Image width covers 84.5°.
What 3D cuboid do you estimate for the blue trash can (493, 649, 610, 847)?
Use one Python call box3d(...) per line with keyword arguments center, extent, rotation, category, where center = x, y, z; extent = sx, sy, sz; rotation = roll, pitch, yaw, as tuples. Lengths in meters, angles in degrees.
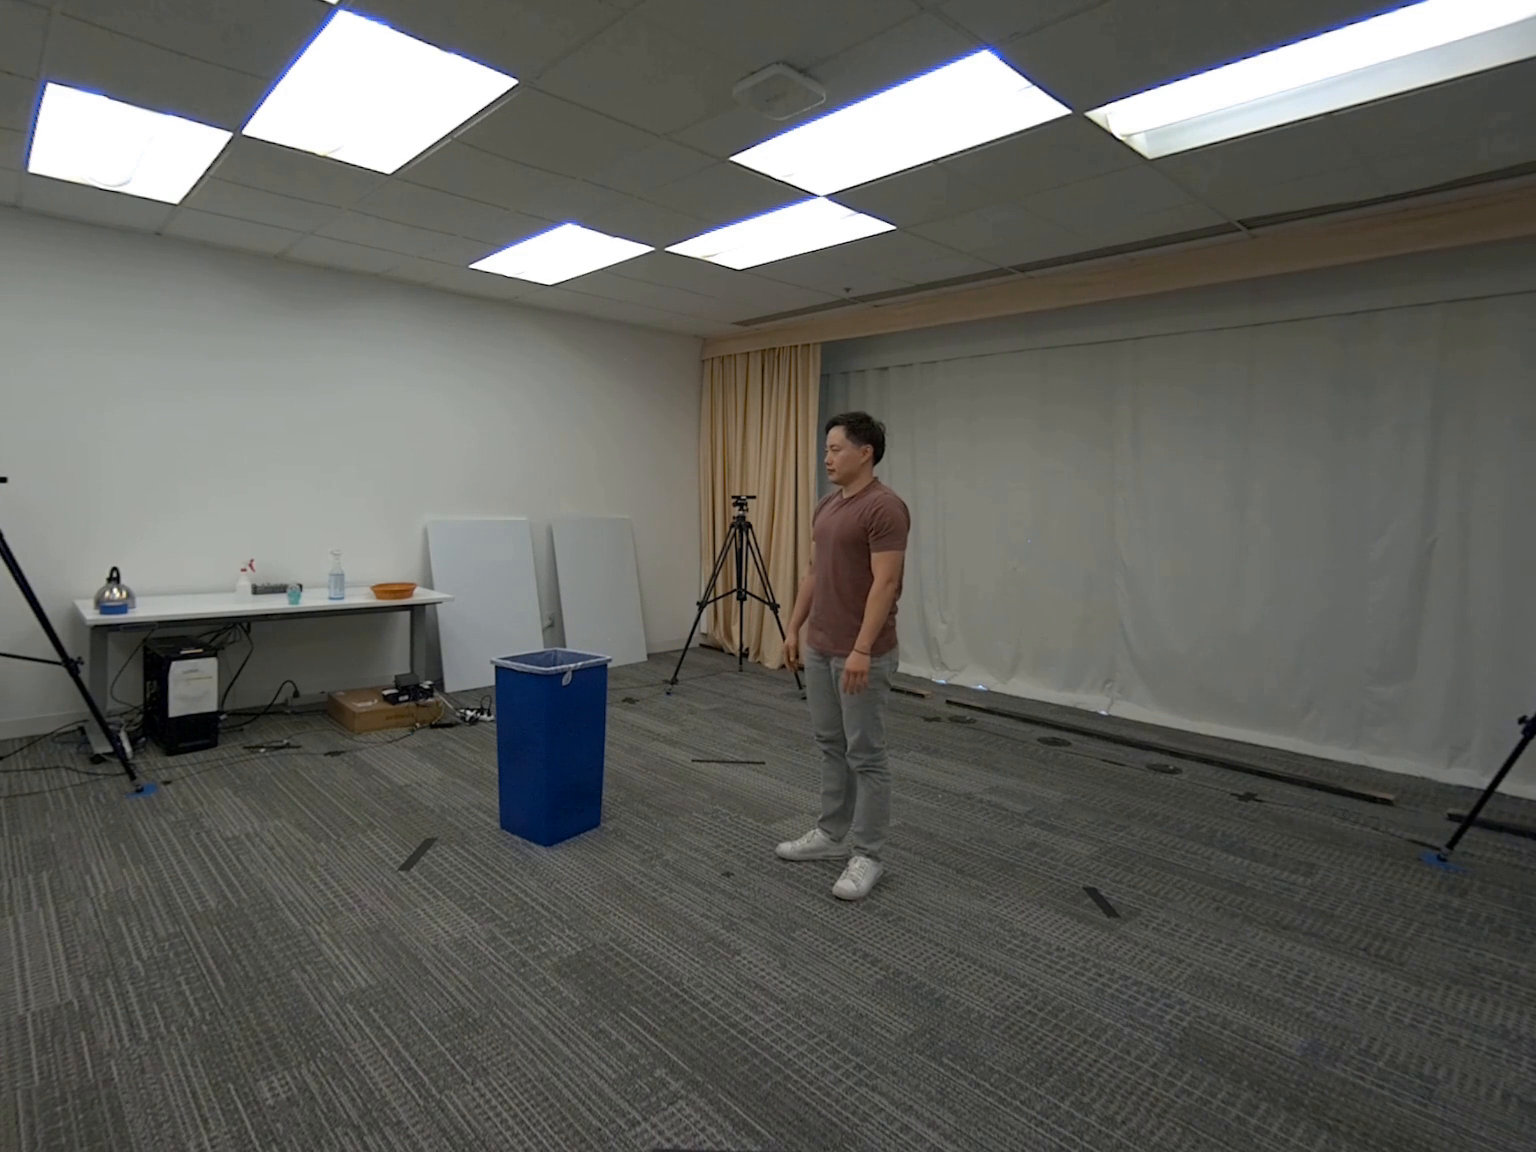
box3d(center=(-0.915, 0.693, 3.497), extent=(0.383, 0.712, 0.370), rotation=(4, 4, 36), category="blue trash can")
